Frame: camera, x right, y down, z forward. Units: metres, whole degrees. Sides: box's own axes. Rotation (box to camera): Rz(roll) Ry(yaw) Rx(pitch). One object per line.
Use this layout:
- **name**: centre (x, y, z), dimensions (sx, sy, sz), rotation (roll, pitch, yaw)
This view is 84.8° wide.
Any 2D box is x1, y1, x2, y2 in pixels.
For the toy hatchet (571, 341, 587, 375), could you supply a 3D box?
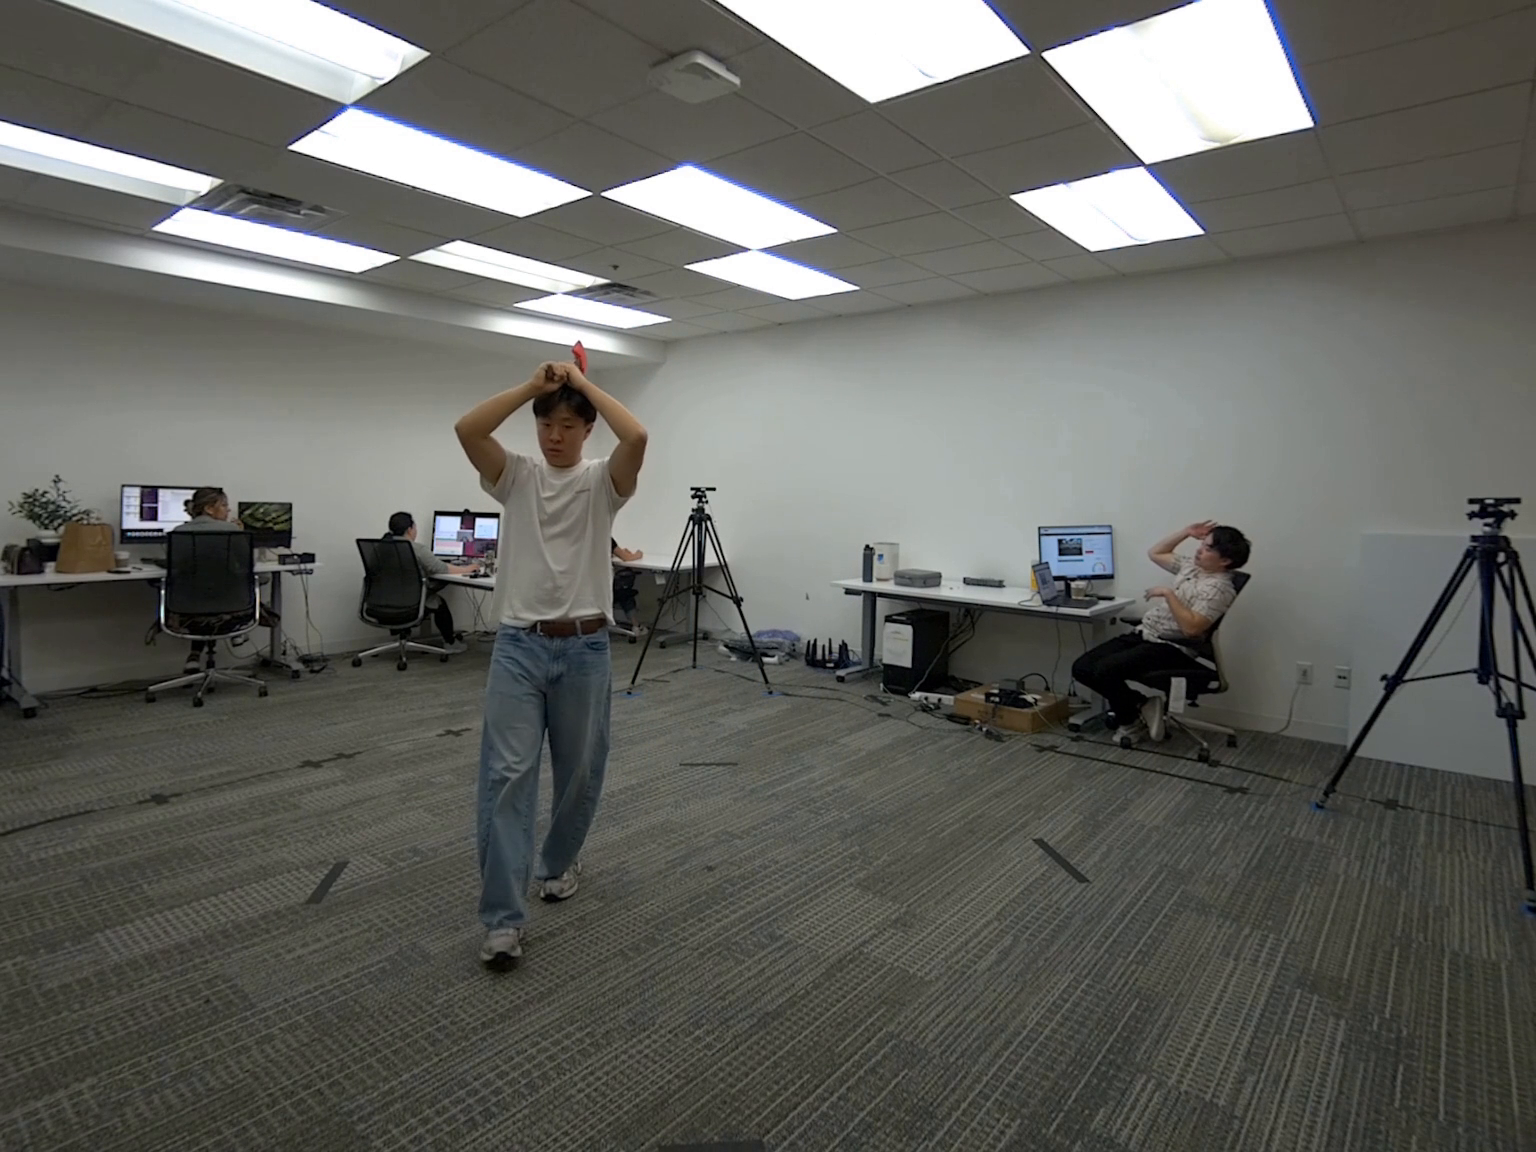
- **toy hatchet**: centre (-0.652, -0.702, 2.738), dimensions (0.030, 0.130, 0.271), rotation (6, 13, 5)
